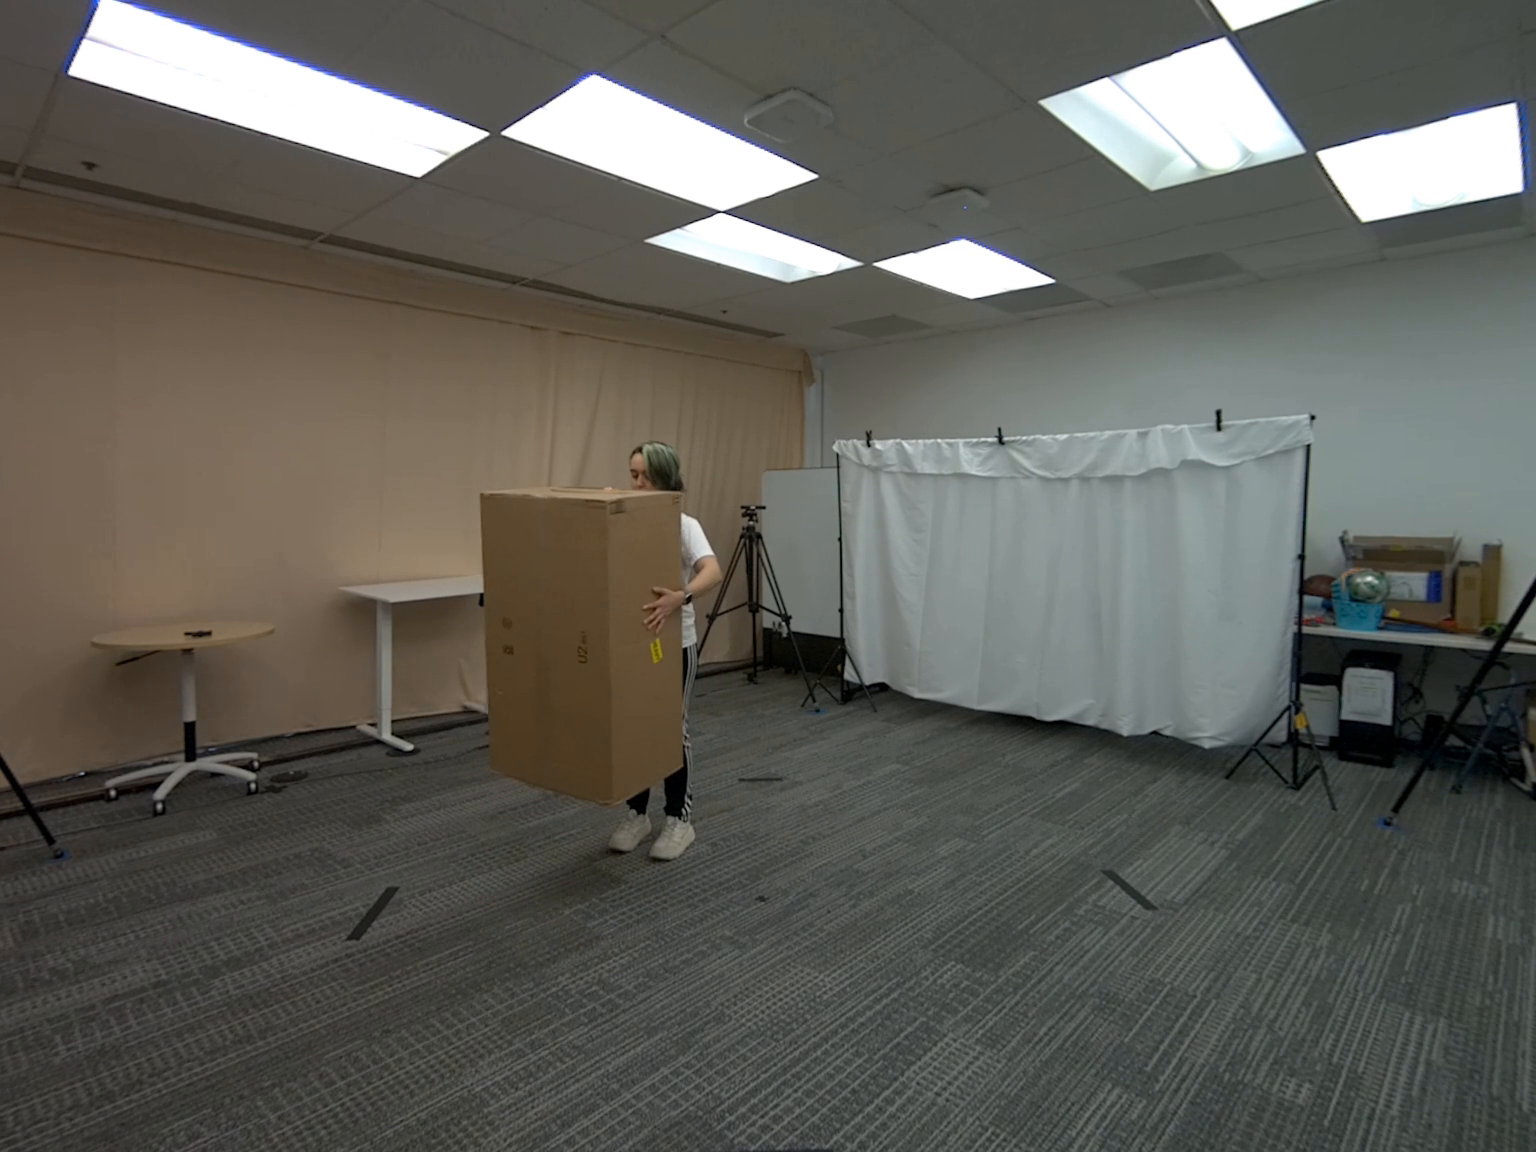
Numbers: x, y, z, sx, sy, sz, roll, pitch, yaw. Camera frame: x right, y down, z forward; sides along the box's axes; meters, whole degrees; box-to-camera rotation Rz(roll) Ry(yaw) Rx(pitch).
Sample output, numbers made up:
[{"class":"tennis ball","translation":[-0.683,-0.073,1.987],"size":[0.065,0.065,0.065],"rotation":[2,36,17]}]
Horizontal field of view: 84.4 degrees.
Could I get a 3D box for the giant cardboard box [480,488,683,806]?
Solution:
[{"class":"giant cardboard box","translation":[-0.656,0.212,3.031],"size":[0.594,1.021,0.416],"rotation":[5,8,30]}]
